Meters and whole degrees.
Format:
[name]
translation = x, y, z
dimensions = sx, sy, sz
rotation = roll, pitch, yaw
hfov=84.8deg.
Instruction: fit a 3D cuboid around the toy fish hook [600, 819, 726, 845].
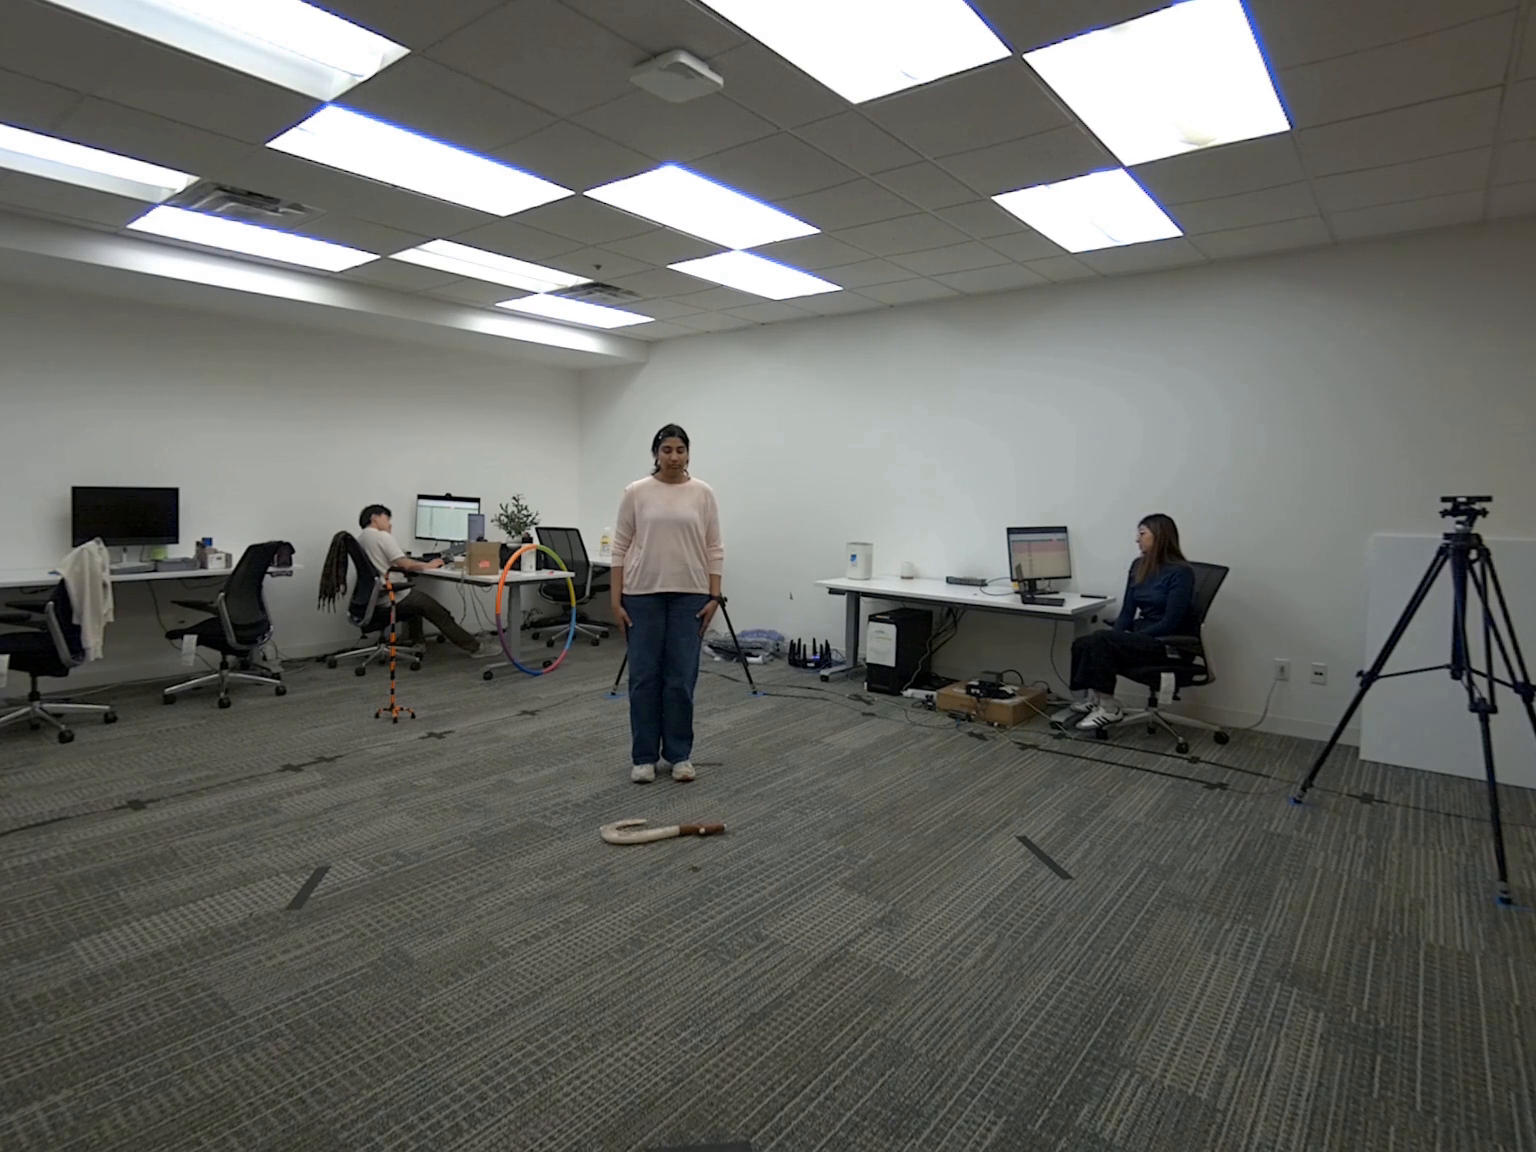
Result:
[toy fish hook]
translation = -0.427, 1.007, 3.432
dimensions = 0.499, 0.048, 0.229
rotation = 0, 7, -14
